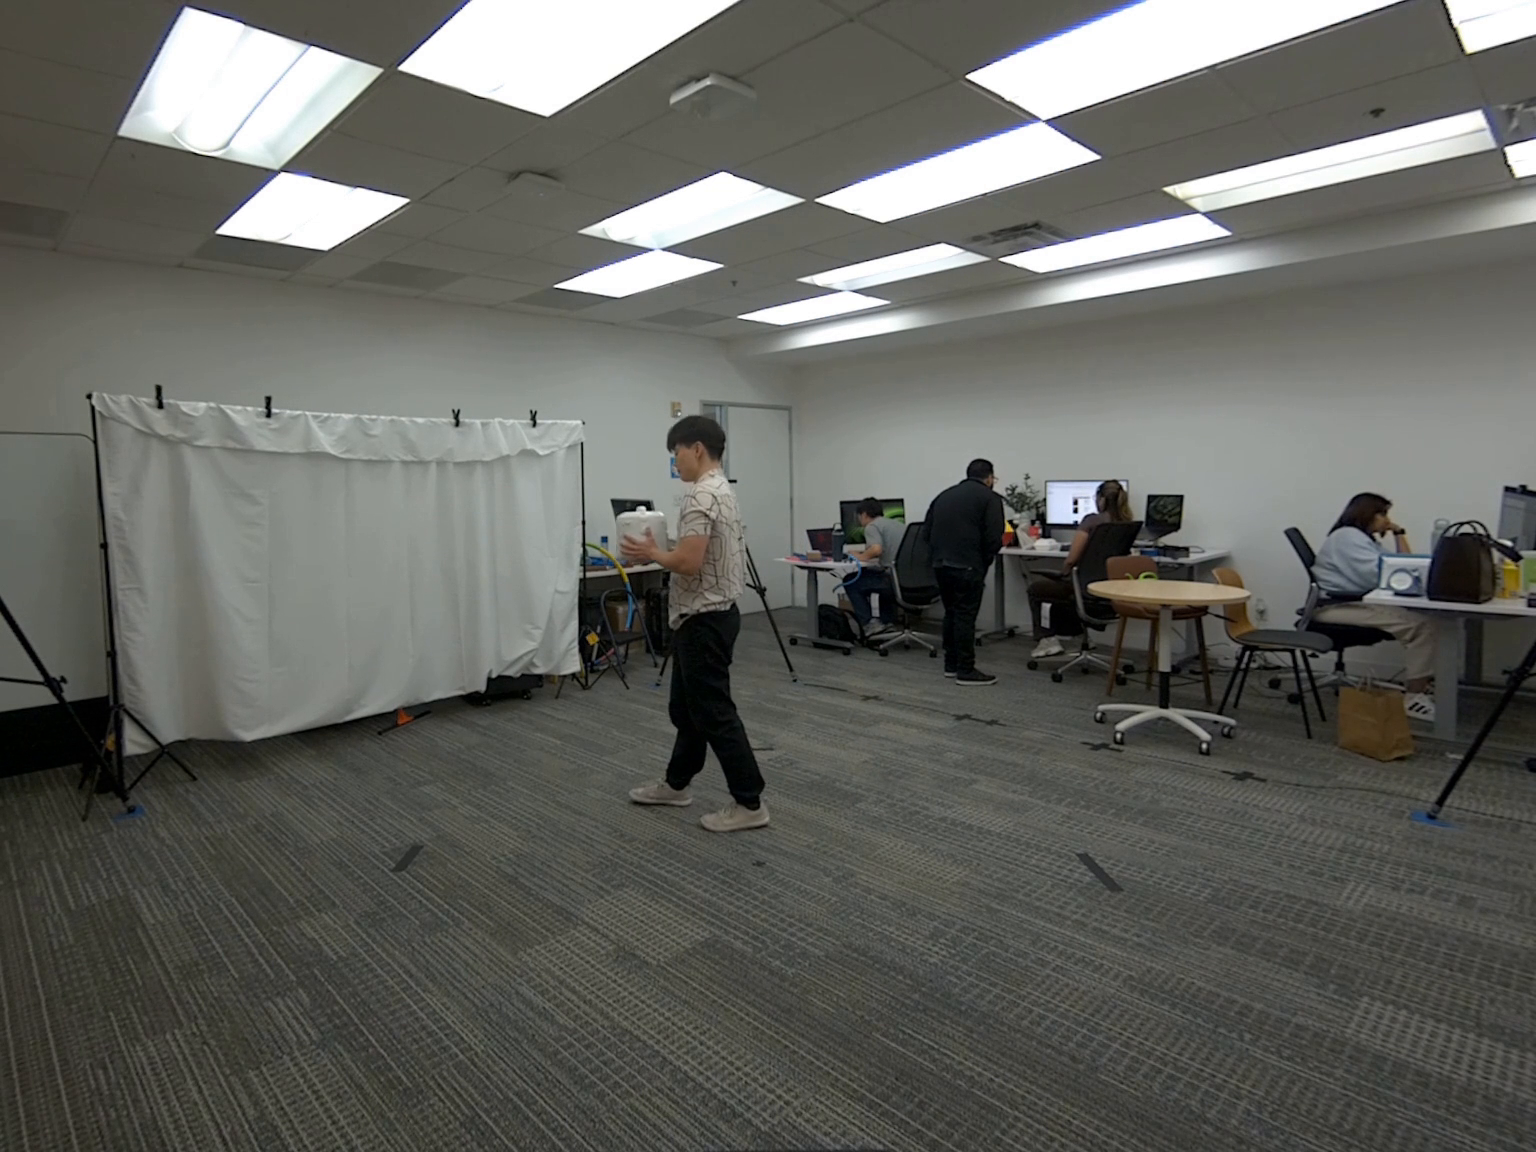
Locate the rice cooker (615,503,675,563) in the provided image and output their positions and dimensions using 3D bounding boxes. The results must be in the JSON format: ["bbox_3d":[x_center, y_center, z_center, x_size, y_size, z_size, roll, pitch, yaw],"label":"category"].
[{"bbox_3d":[-0.514,-0.178,3.559,0.215,0.233,0.223,-2,0,-13],"label":"rice cooker"}]
